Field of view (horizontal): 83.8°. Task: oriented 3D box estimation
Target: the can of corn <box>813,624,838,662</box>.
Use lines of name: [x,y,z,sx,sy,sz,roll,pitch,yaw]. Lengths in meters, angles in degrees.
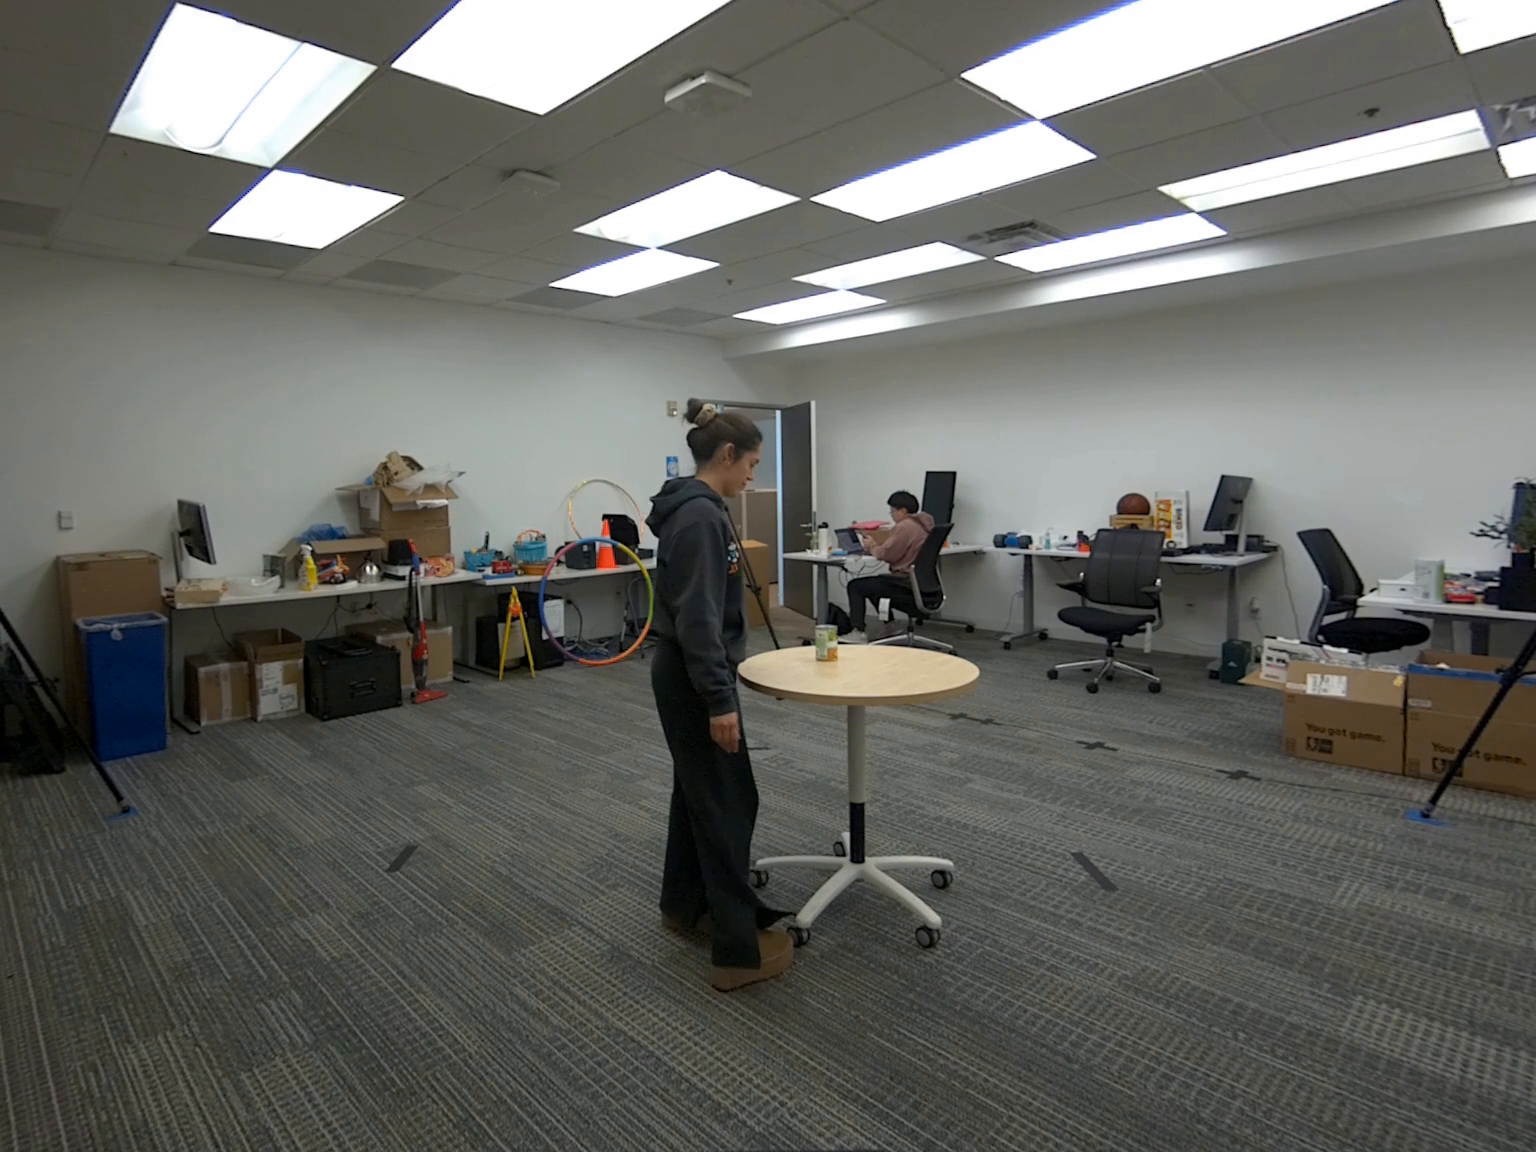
can of corn: [0.204,0.229,2.872,0.074,0.110,0.074,0,4,-2]
